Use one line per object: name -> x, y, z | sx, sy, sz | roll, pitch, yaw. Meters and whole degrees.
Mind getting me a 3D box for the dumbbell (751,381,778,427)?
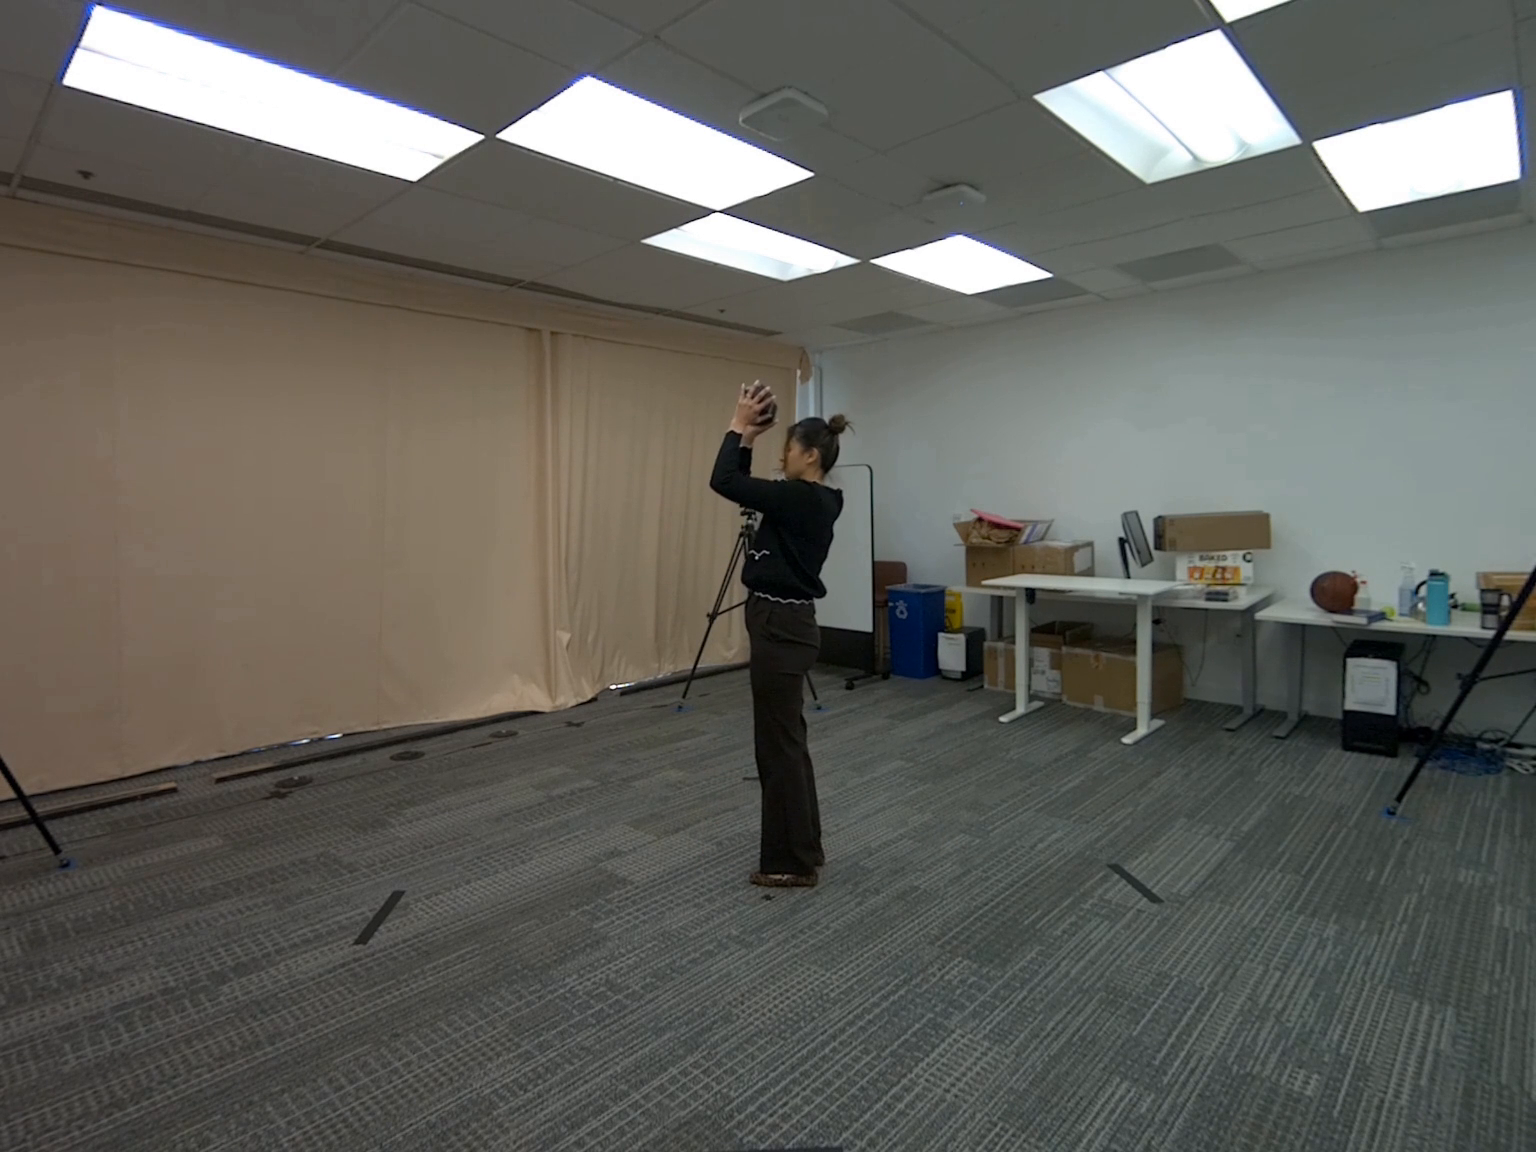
dumbbell -> -0.029, -0.621, 3.108 | 0.124, 0.109, 0.291 | -18, 0, 9
